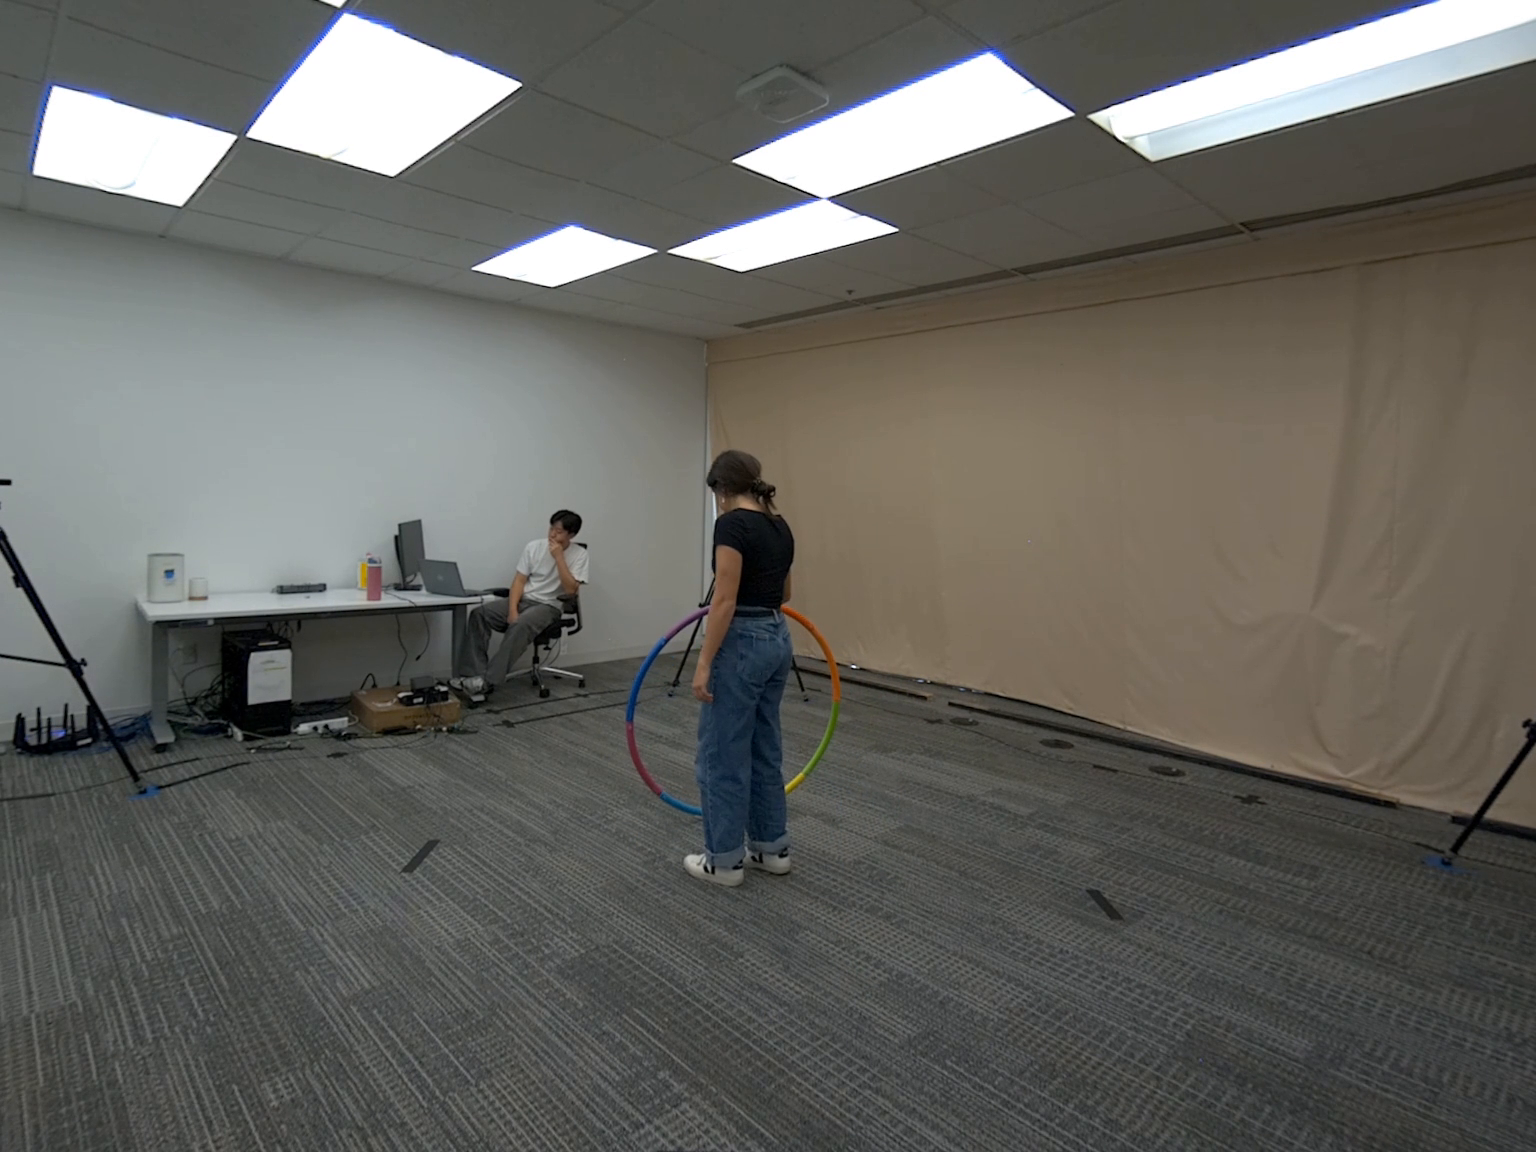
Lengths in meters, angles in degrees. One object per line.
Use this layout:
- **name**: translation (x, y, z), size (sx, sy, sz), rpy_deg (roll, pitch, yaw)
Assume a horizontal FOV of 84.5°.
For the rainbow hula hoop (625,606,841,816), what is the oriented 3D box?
- **rainbow hula hoop**: translation (-0.140, 0.577, 3.638), size (0.962, 0.973, 0.036), rpy_deg (0, 8, -23)
